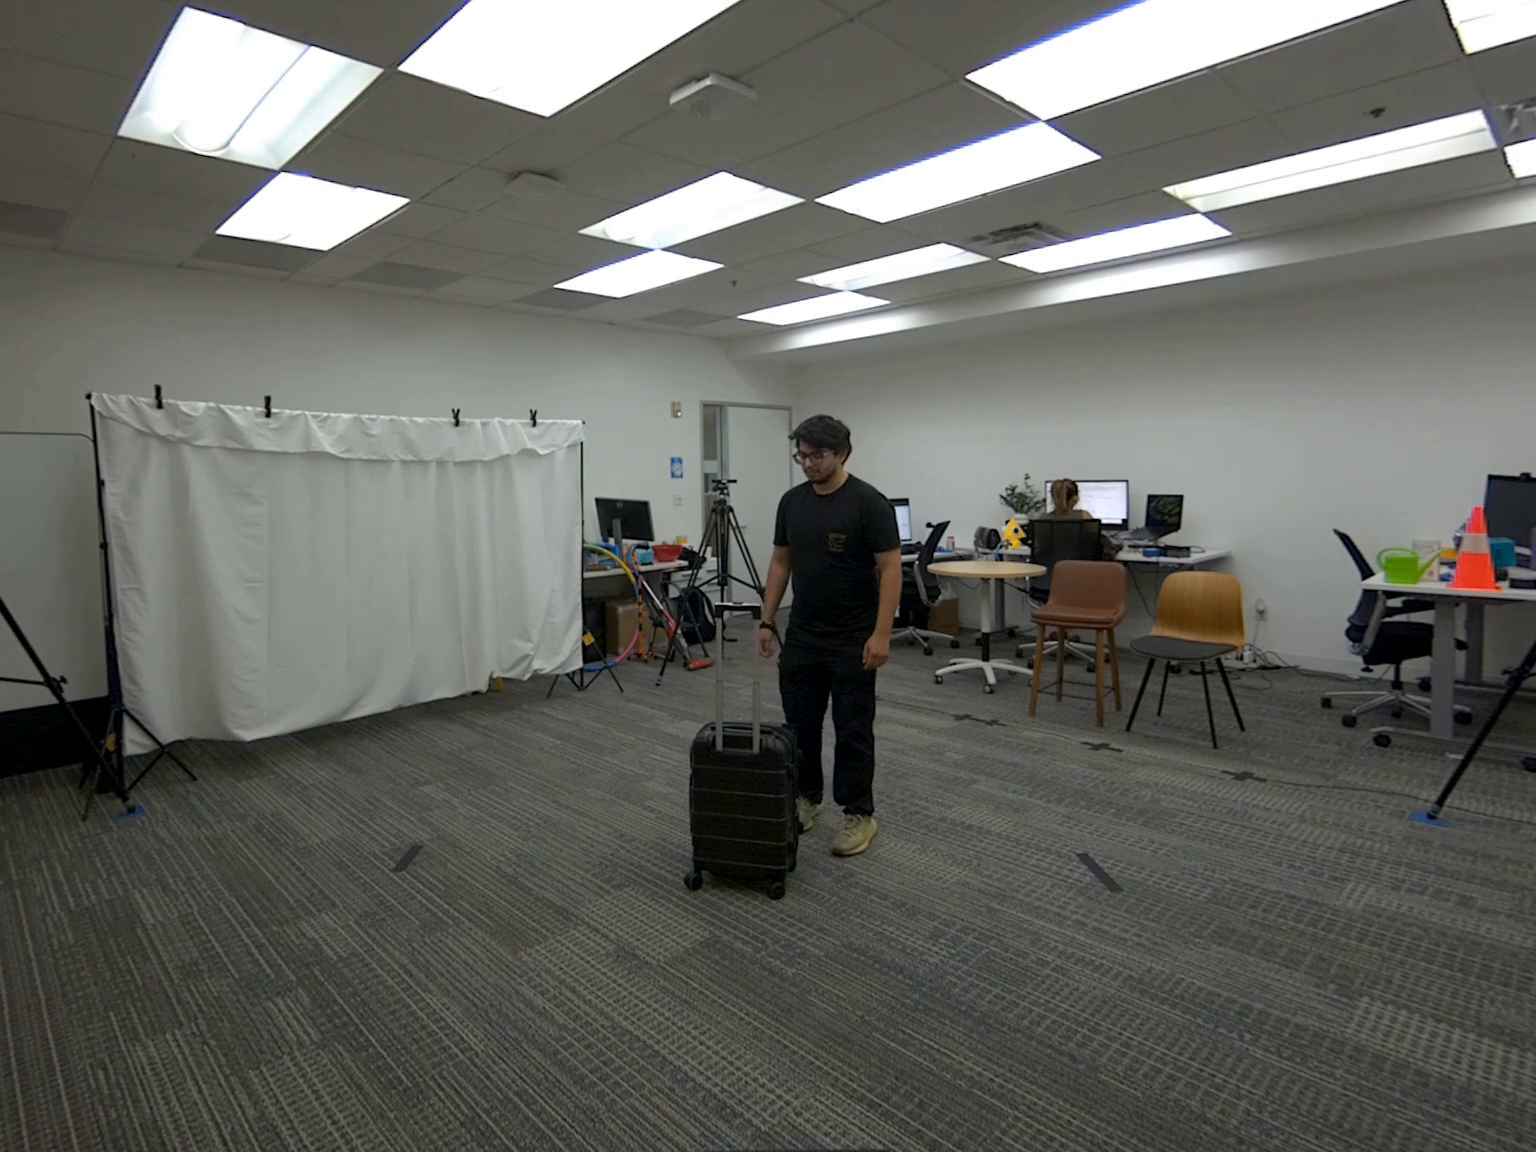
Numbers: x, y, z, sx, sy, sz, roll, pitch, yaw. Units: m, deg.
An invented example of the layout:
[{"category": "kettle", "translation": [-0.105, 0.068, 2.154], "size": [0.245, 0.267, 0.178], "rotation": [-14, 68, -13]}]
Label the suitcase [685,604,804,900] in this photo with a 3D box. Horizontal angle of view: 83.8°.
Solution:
[{"category": "suitcase", "translation": [-0.080, 0.584, 2.984], "size": [0.390, 0.978, 0.253], "rotation": [1, 1, 15]}]
